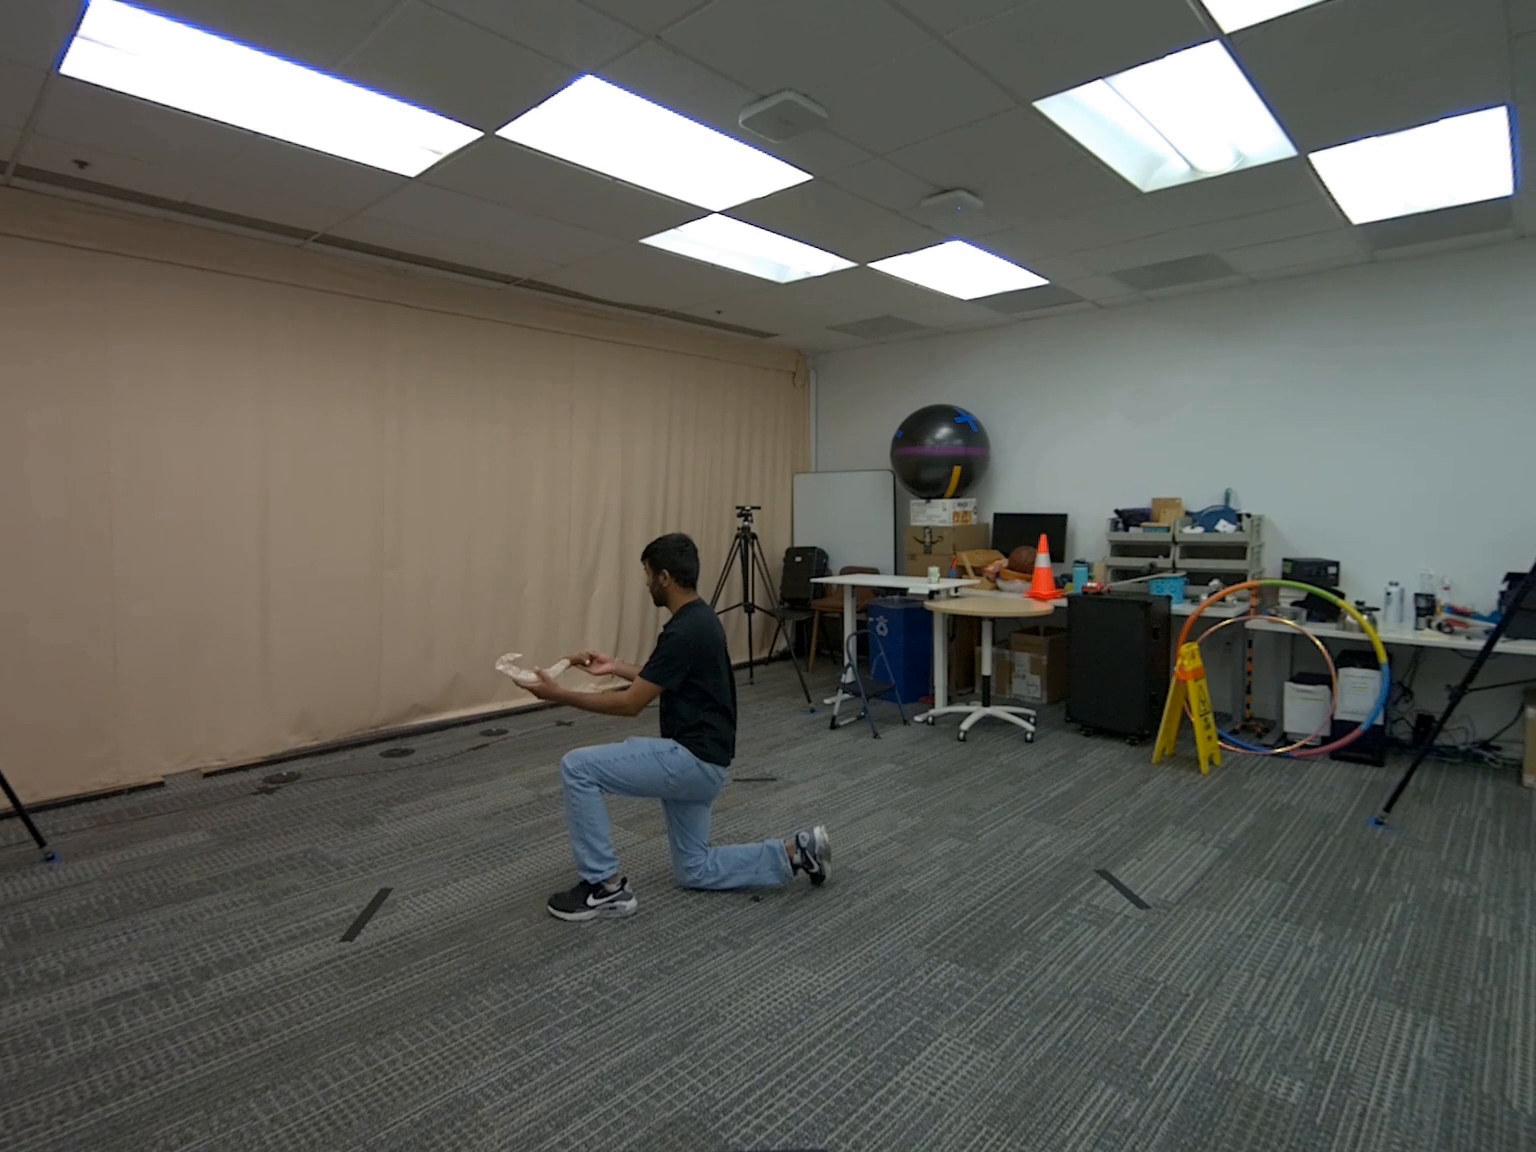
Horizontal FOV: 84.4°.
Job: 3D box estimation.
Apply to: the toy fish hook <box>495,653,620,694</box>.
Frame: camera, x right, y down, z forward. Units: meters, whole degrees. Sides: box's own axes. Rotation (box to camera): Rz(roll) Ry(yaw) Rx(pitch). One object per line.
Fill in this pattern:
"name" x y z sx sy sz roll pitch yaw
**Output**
"toy fish hook" -0.799 0.325 3.143 0.229 0.048 0.498 22 10 15
